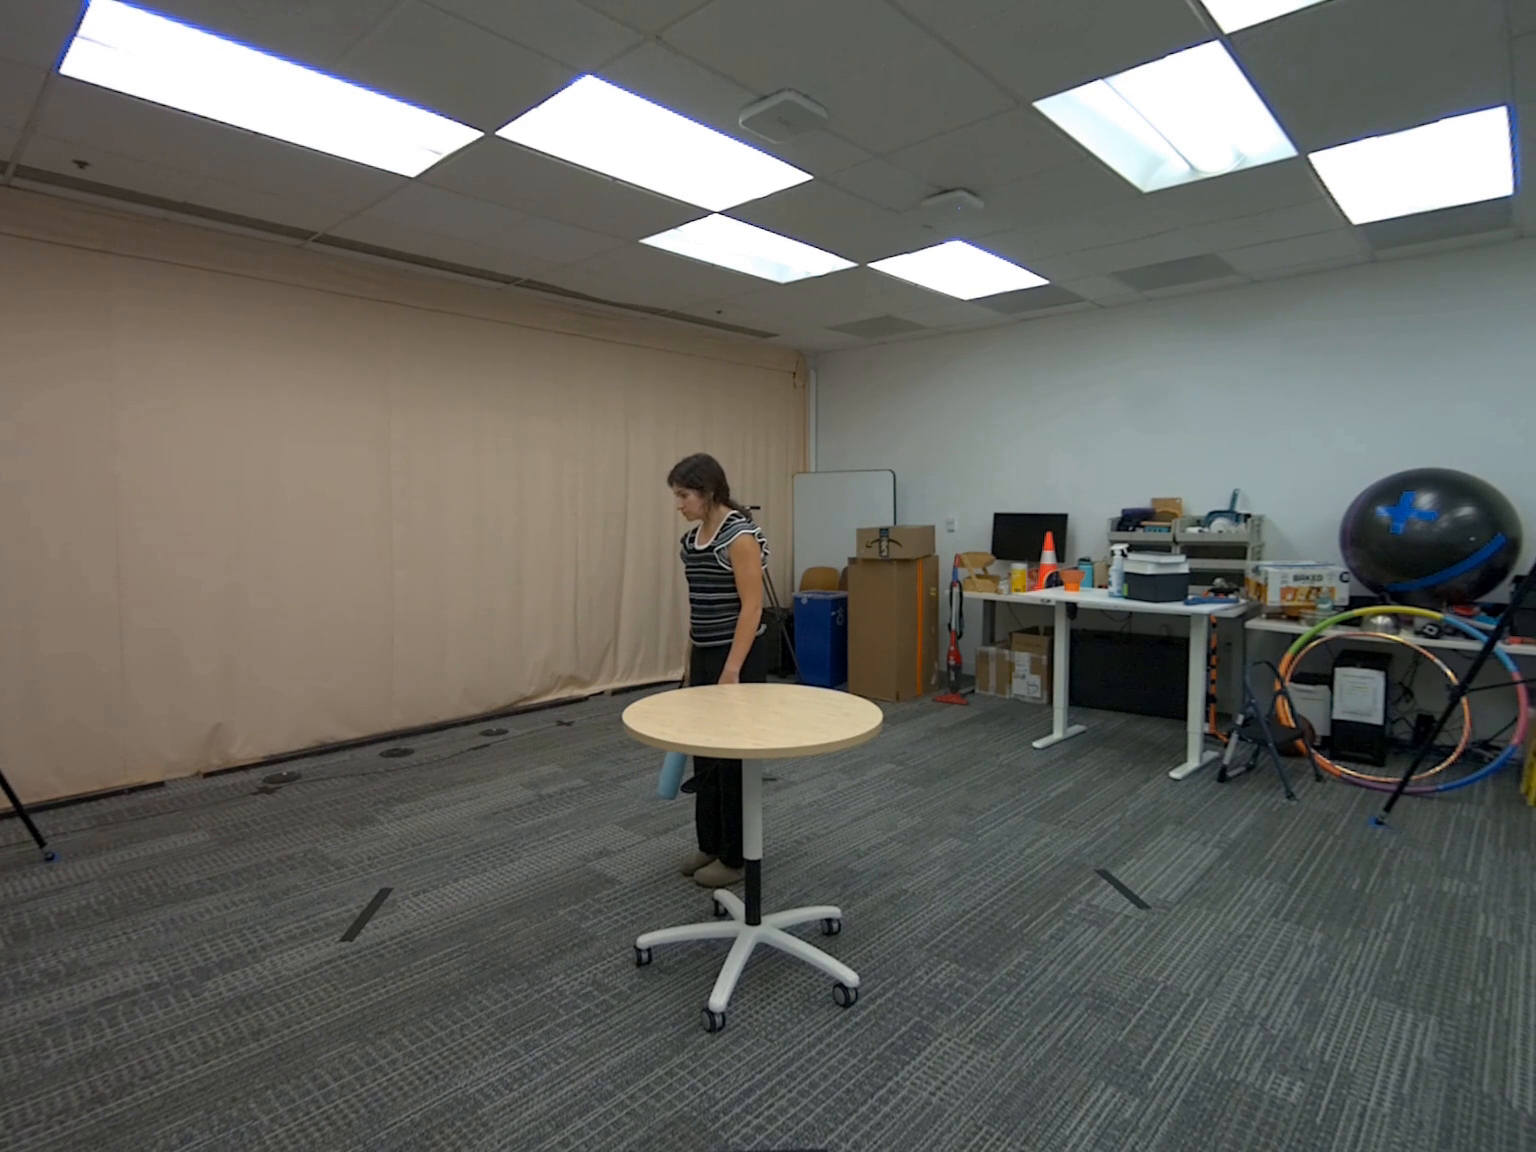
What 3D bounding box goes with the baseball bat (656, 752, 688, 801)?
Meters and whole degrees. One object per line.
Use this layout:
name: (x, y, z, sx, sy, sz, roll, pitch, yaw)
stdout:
baseball bat: (-0.346, 0.632, 3.370, 0.089, 0.542, 0.089, 15, 3, -3)
